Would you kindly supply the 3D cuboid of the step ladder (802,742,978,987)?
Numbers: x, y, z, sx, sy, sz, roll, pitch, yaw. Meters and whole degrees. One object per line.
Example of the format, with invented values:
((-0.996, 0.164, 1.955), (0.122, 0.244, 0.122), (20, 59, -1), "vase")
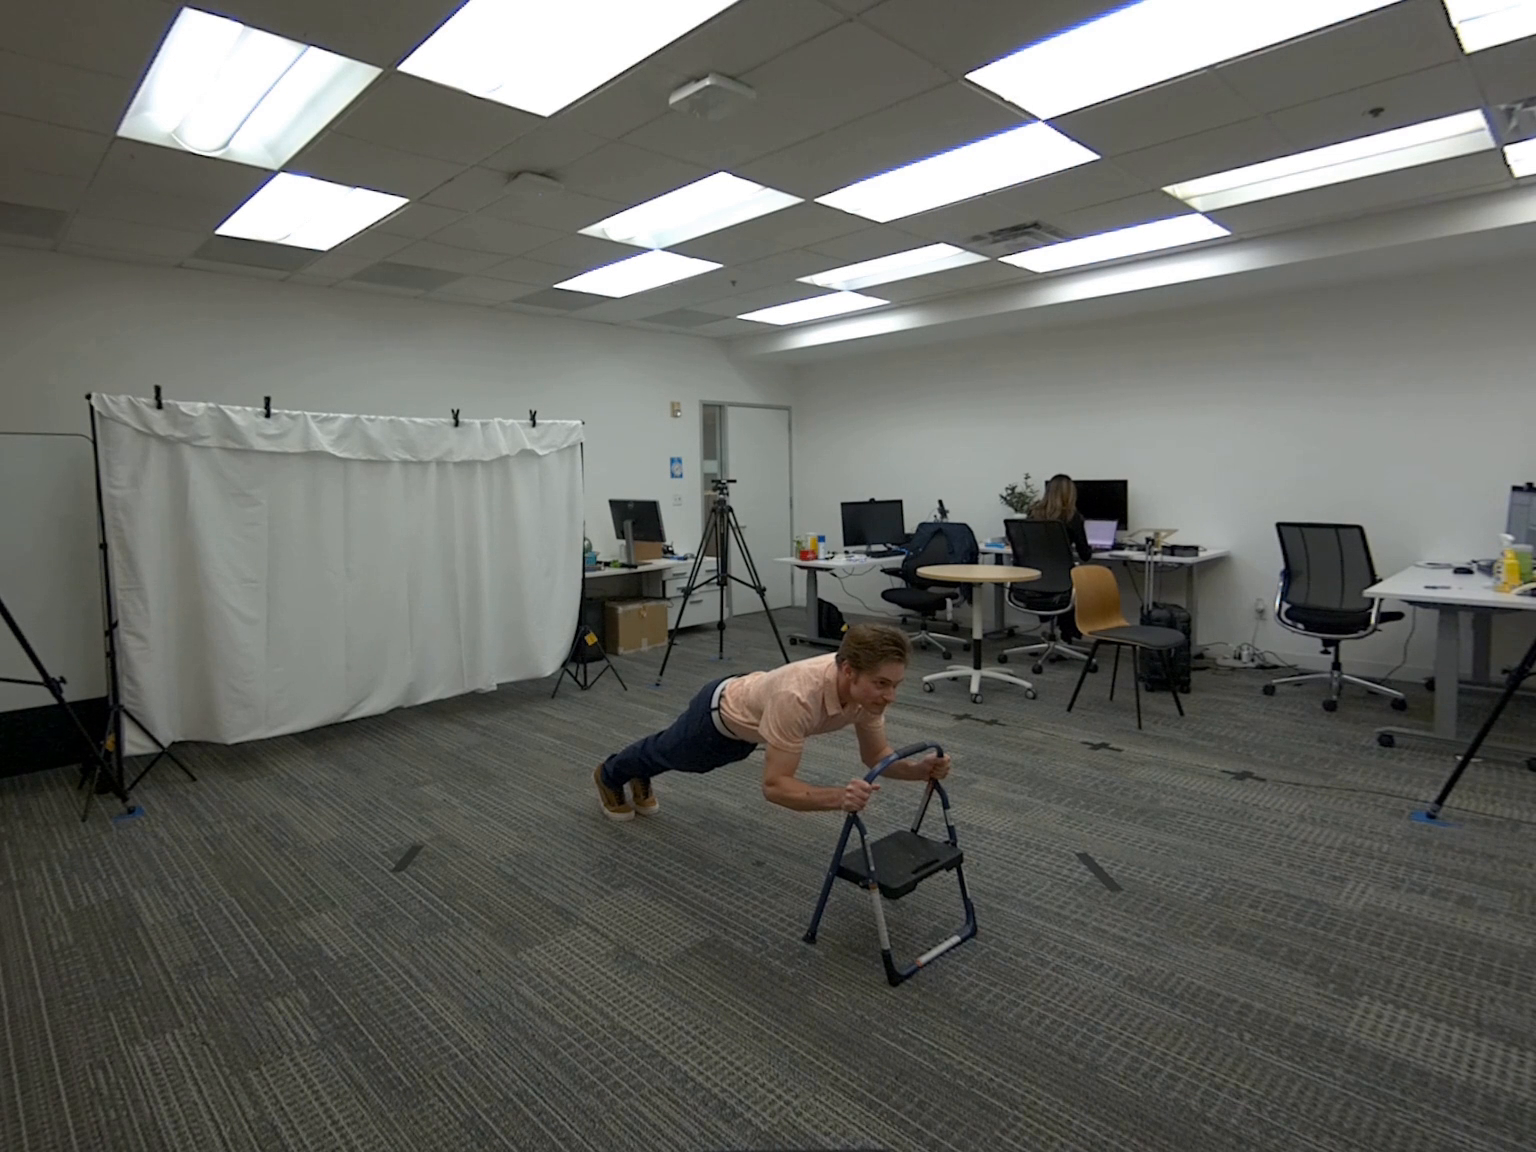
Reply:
((0.375, 0.801, 2.580), (0.419, 0.604, 0.360), (-5, 6, -43), "step ladder")
